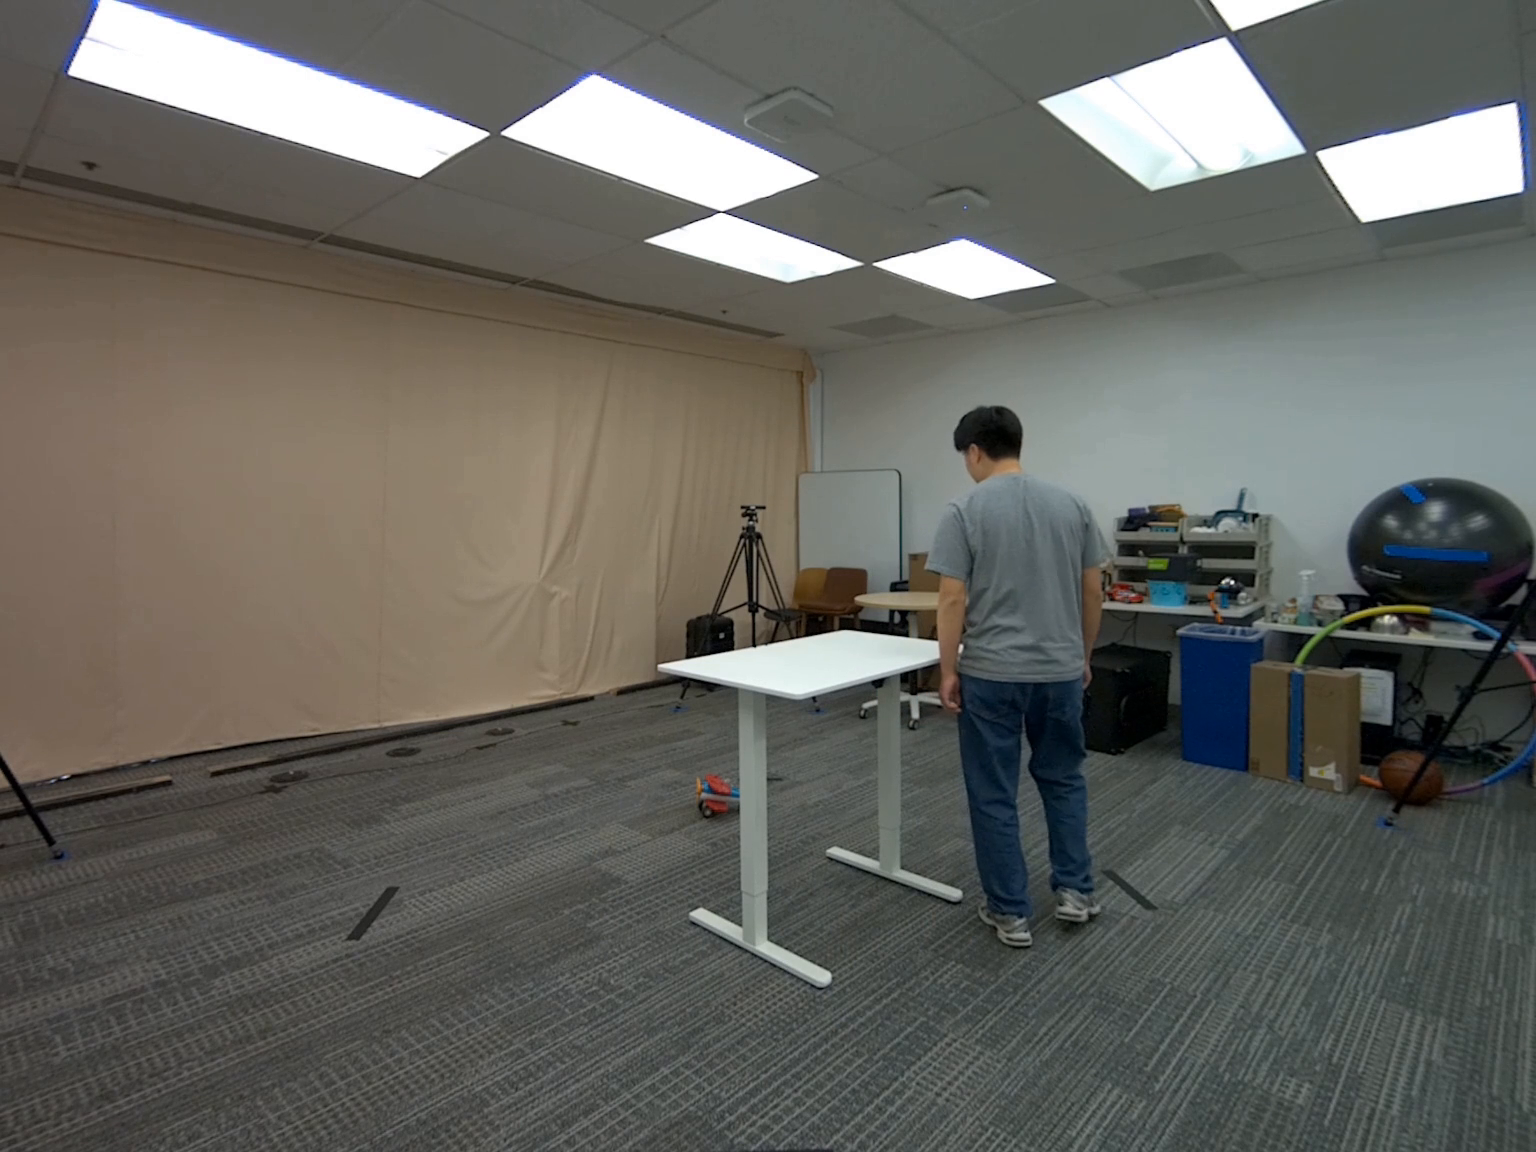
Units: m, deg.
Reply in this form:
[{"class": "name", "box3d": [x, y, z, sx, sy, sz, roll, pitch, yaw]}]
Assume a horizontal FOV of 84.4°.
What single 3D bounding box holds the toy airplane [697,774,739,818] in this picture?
[{"class": "toy airplane", "box3d": [-0.207, 1.002, 3.847, 0.251, 0.156, 0.259, -5, 6, -43]}]
